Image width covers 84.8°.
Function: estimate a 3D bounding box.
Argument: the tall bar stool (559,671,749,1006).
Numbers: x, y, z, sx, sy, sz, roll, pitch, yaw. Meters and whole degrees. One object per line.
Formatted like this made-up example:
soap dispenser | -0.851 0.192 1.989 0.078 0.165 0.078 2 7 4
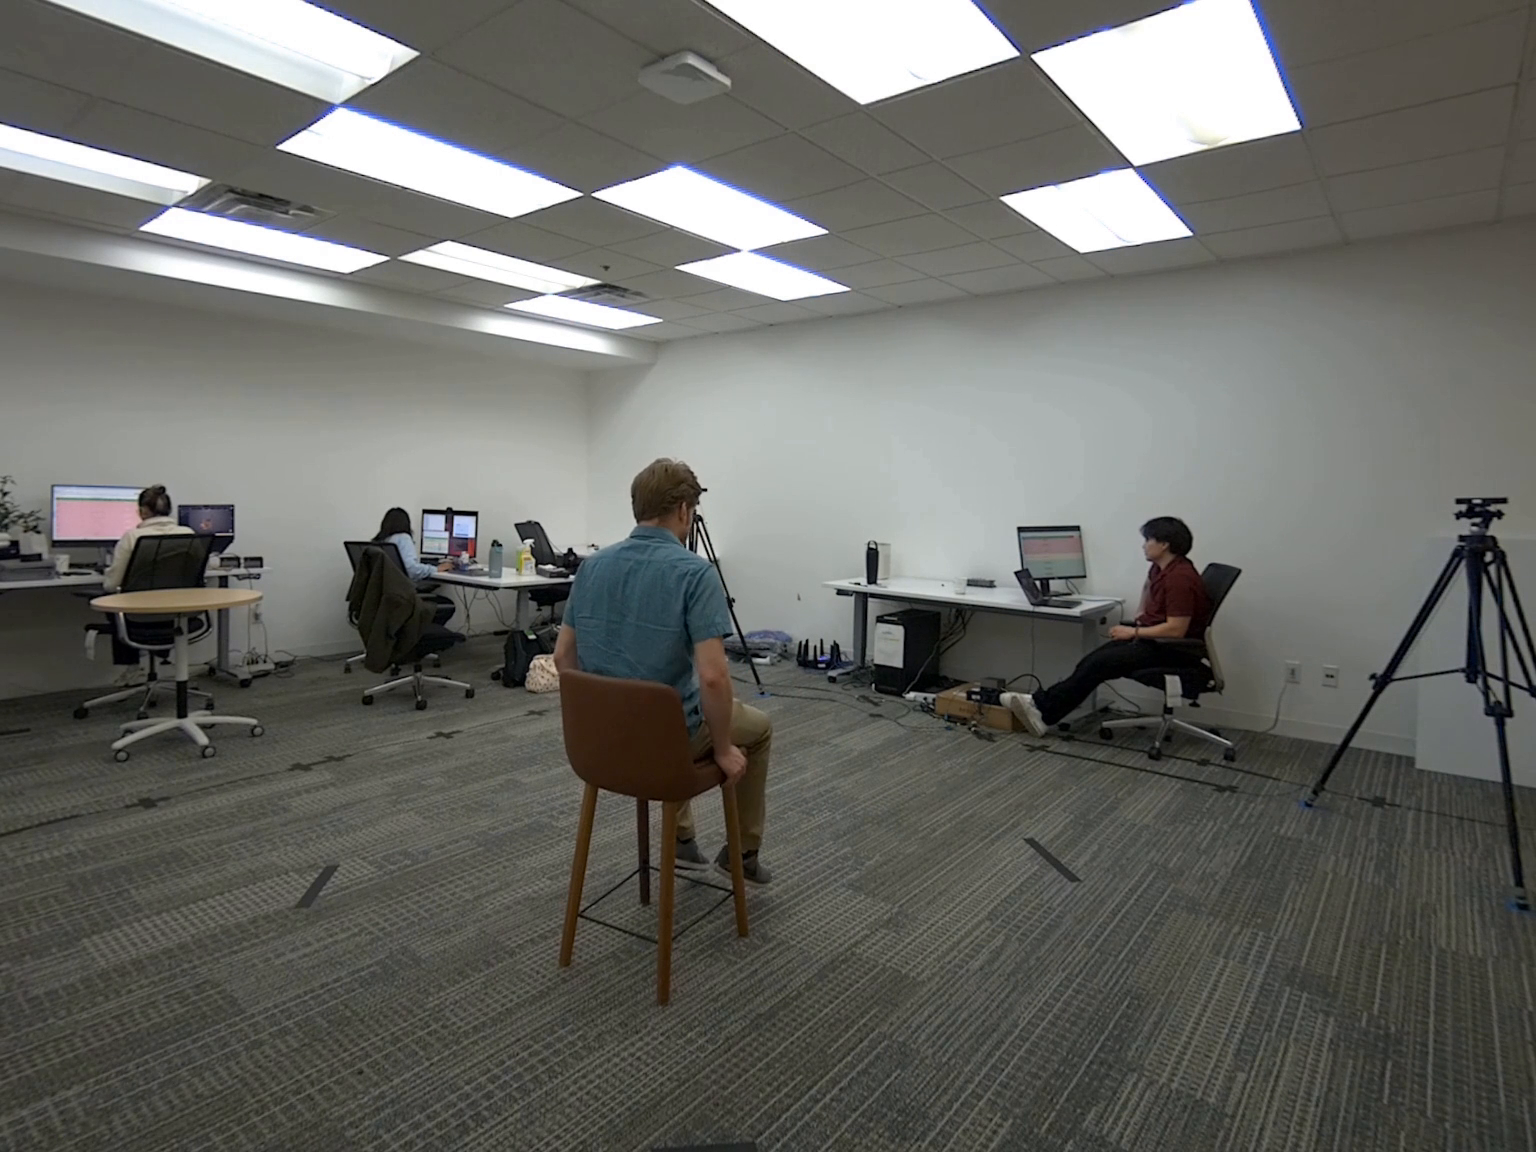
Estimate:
tall bar stool | -0.354 0.691 2.540 0.469 0.886 0.457 1 5 29
